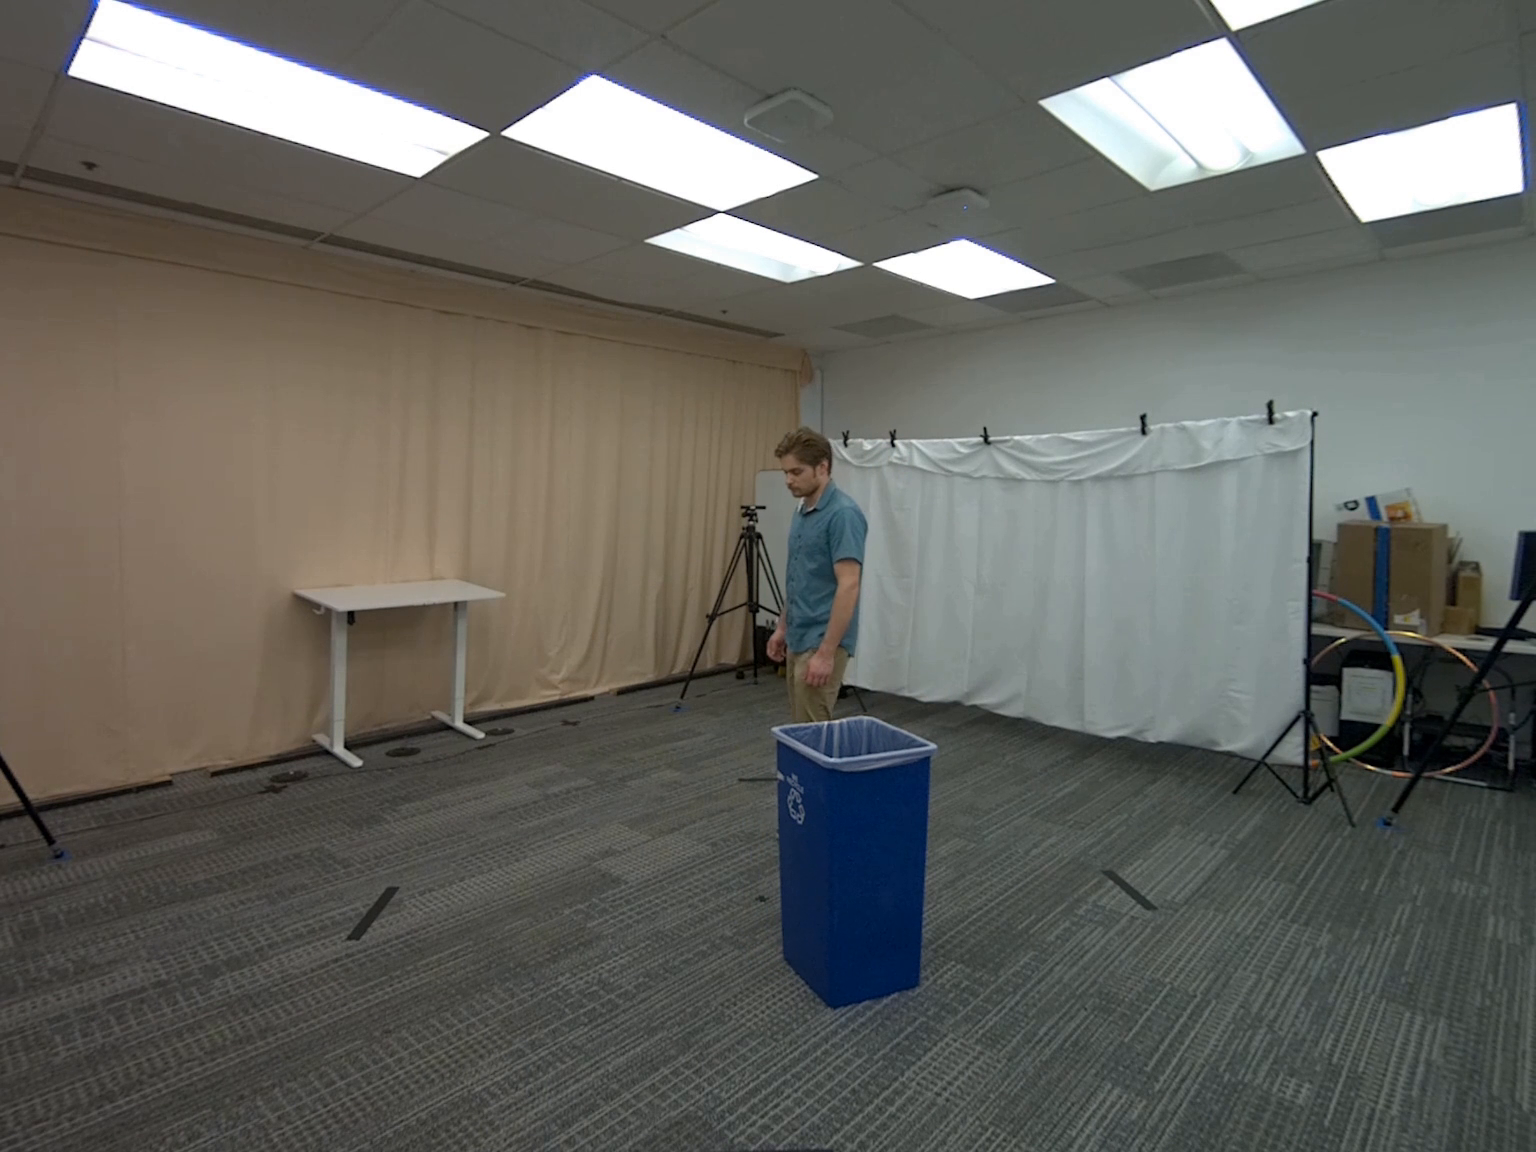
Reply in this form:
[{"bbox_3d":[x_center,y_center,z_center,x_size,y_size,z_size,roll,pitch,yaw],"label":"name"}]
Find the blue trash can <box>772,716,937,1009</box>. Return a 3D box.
[{"bbox_3d":[0.248,0.823,2.497,0.369,0.712,0.384,-2,4,-25],"label":"blue trash can"}]
